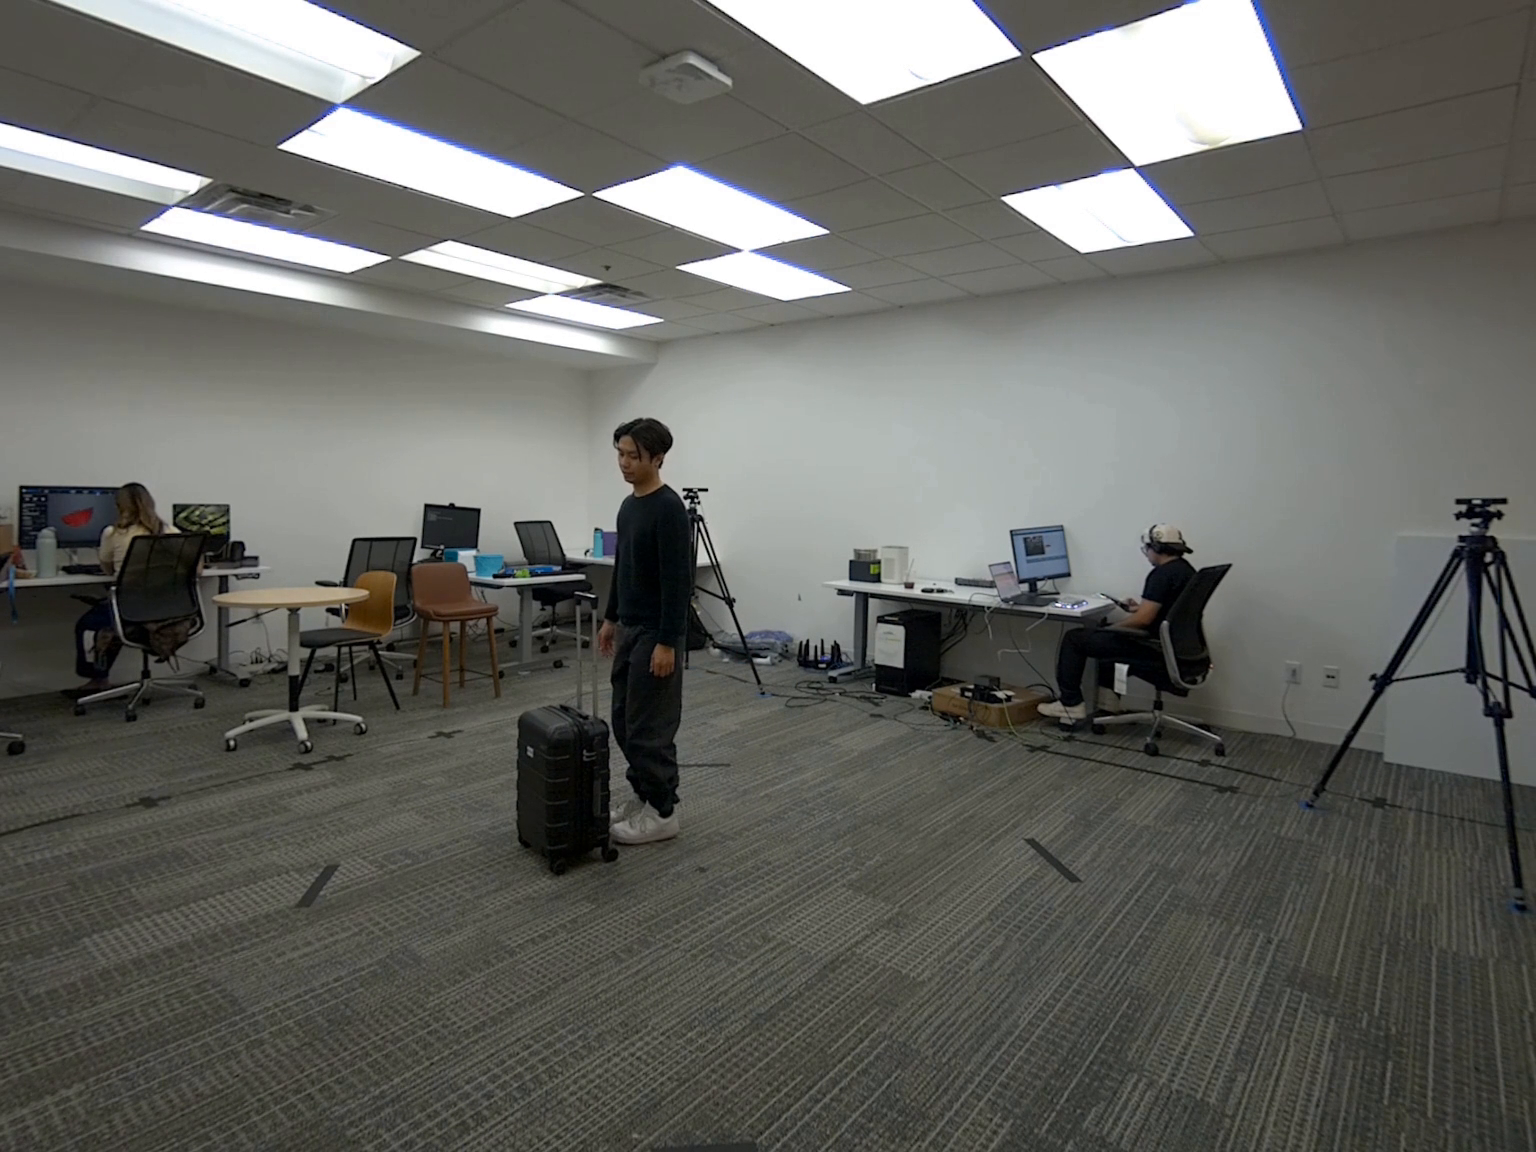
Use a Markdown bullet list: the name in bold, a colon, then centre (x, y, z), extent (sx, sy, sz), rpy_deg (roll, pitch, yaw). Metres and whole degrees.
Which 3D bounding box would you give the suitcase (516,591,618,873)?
- **suitcase**: centre (-0.797, 0.578, 3.183), extent (0.250, 0.974, 0.396), rpy_deg (-5, 6, -34)
